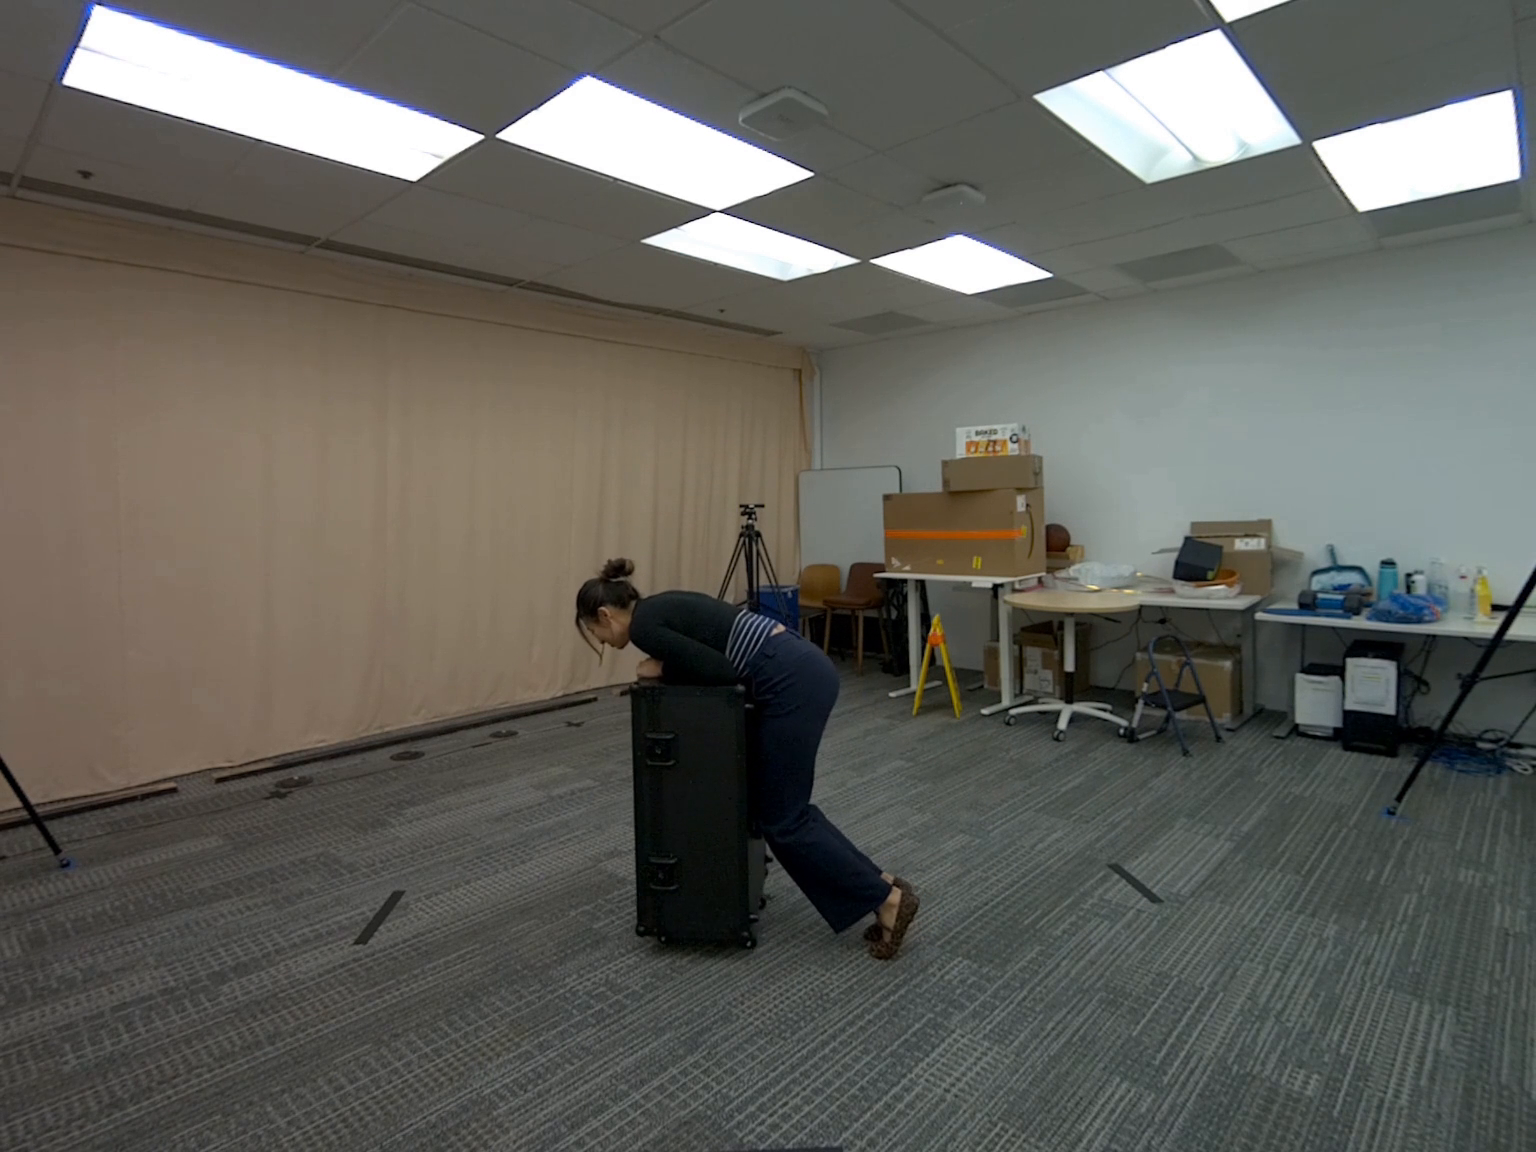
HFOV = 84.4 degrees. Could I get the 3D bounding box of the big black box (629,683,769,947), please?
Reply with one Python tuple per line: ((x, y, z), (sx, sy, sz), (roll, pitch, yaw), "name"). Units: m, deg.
((-0.204, 0.737, 2.797), (0.400, 0.860, 0.518), (0, 3, 7), "big black box")
